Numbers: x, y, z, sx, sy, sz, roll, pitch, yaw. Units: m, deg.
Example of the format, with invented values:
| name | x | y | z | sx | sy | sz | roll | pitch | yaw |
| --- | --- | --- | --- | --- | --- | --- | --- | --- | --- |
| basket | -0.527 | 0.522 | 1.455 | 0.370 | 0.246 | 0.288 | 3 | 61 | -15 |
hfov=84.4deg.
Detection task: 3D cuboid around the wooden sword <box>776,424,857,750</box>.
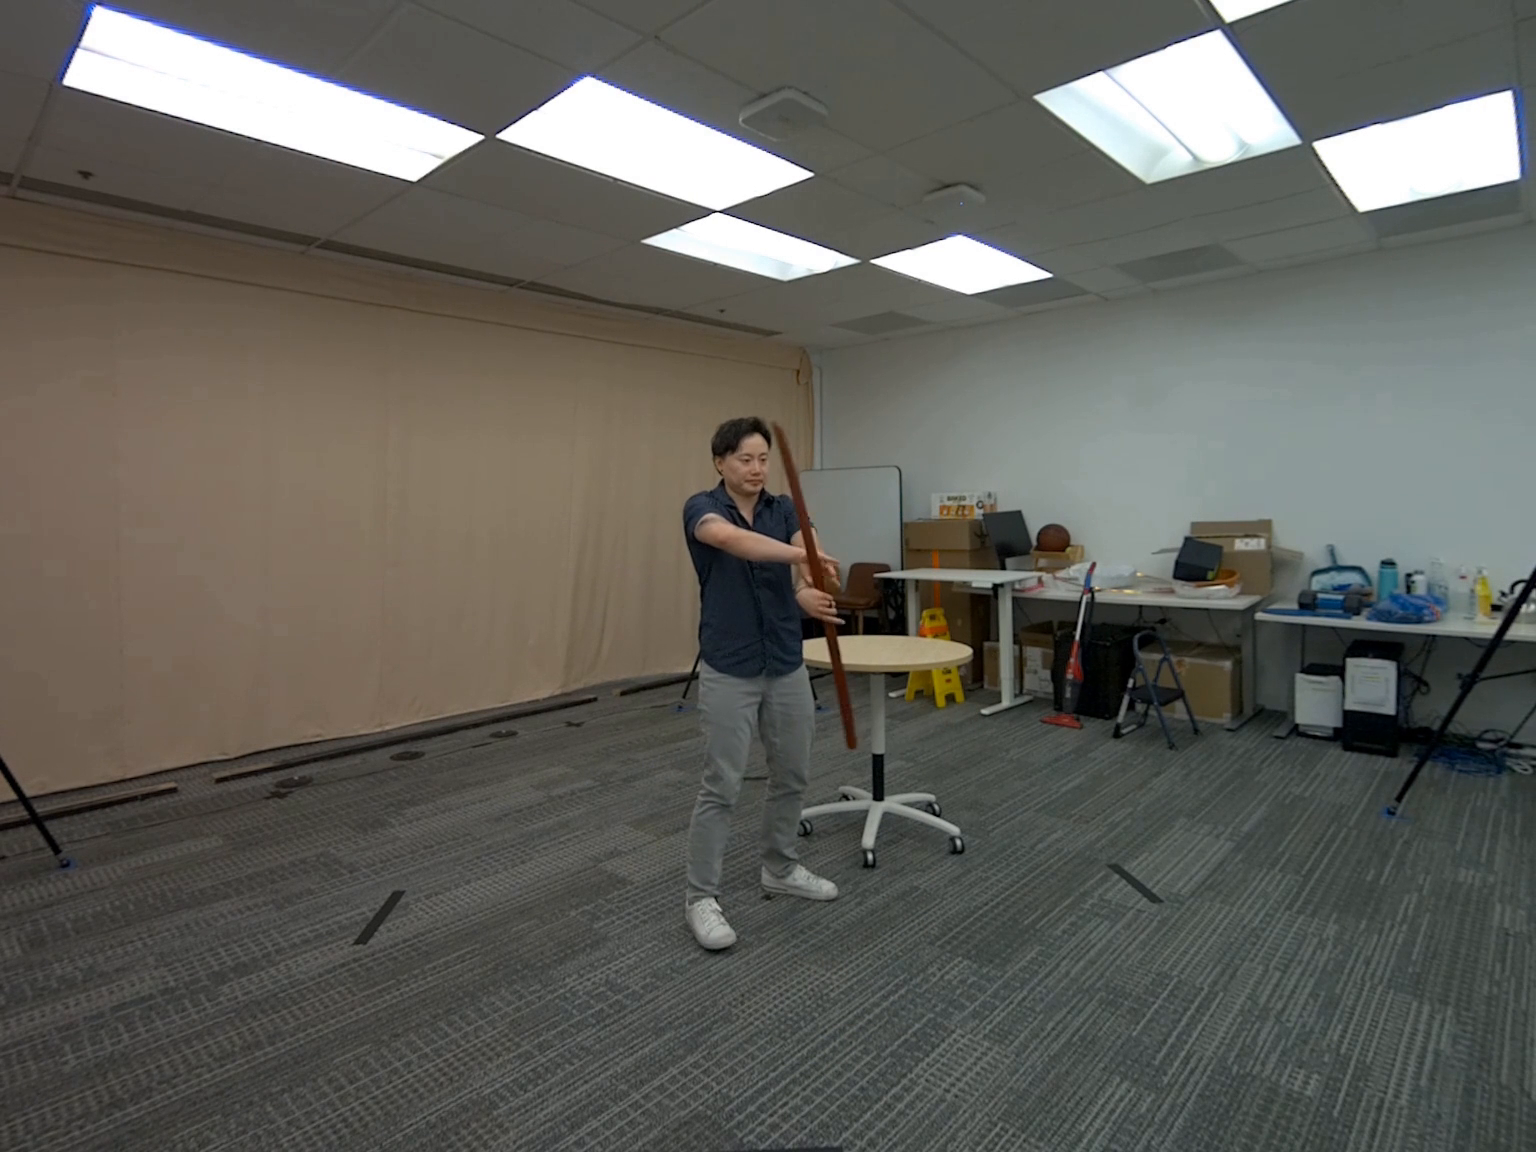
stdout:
| name | x | y | z | sx | sy | sz | roll | pitch | yaw |
| --- | --- | --- | --- | --- | --- | --- | --- | --- | --- |
| wooden sword | 0.174 | 0.052 | 2.520 | 0.023 | 1.019 | 0.053 | -16 | 8 | -34 |
